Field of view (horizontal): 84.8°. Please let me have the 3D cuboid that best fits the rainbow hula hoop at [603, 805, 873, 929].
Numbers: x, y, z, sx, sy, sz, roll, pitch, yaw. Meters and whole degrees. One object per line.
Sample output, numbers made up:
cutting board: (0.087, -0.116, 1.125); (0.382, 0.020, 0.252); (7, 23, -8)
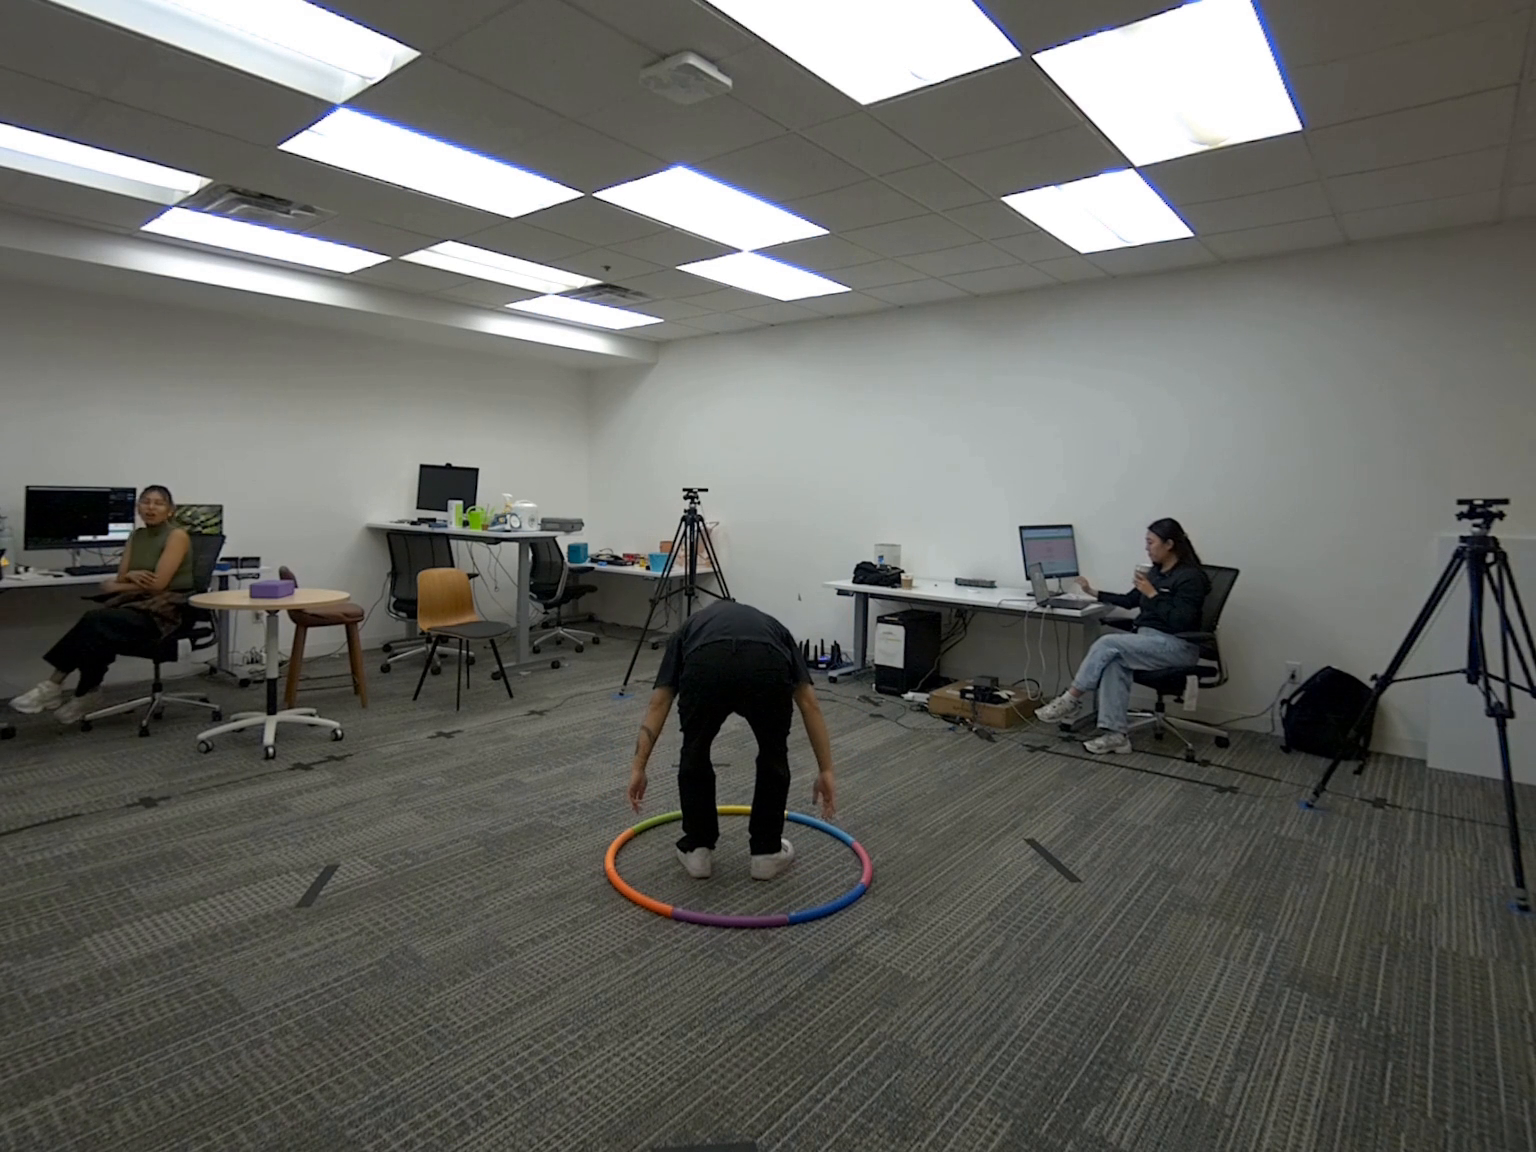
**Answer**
rainbow hula hoop: (-0.122, 1.037, 3.170); (0.978, 0.035, 0.984); (1, 6, -2)
